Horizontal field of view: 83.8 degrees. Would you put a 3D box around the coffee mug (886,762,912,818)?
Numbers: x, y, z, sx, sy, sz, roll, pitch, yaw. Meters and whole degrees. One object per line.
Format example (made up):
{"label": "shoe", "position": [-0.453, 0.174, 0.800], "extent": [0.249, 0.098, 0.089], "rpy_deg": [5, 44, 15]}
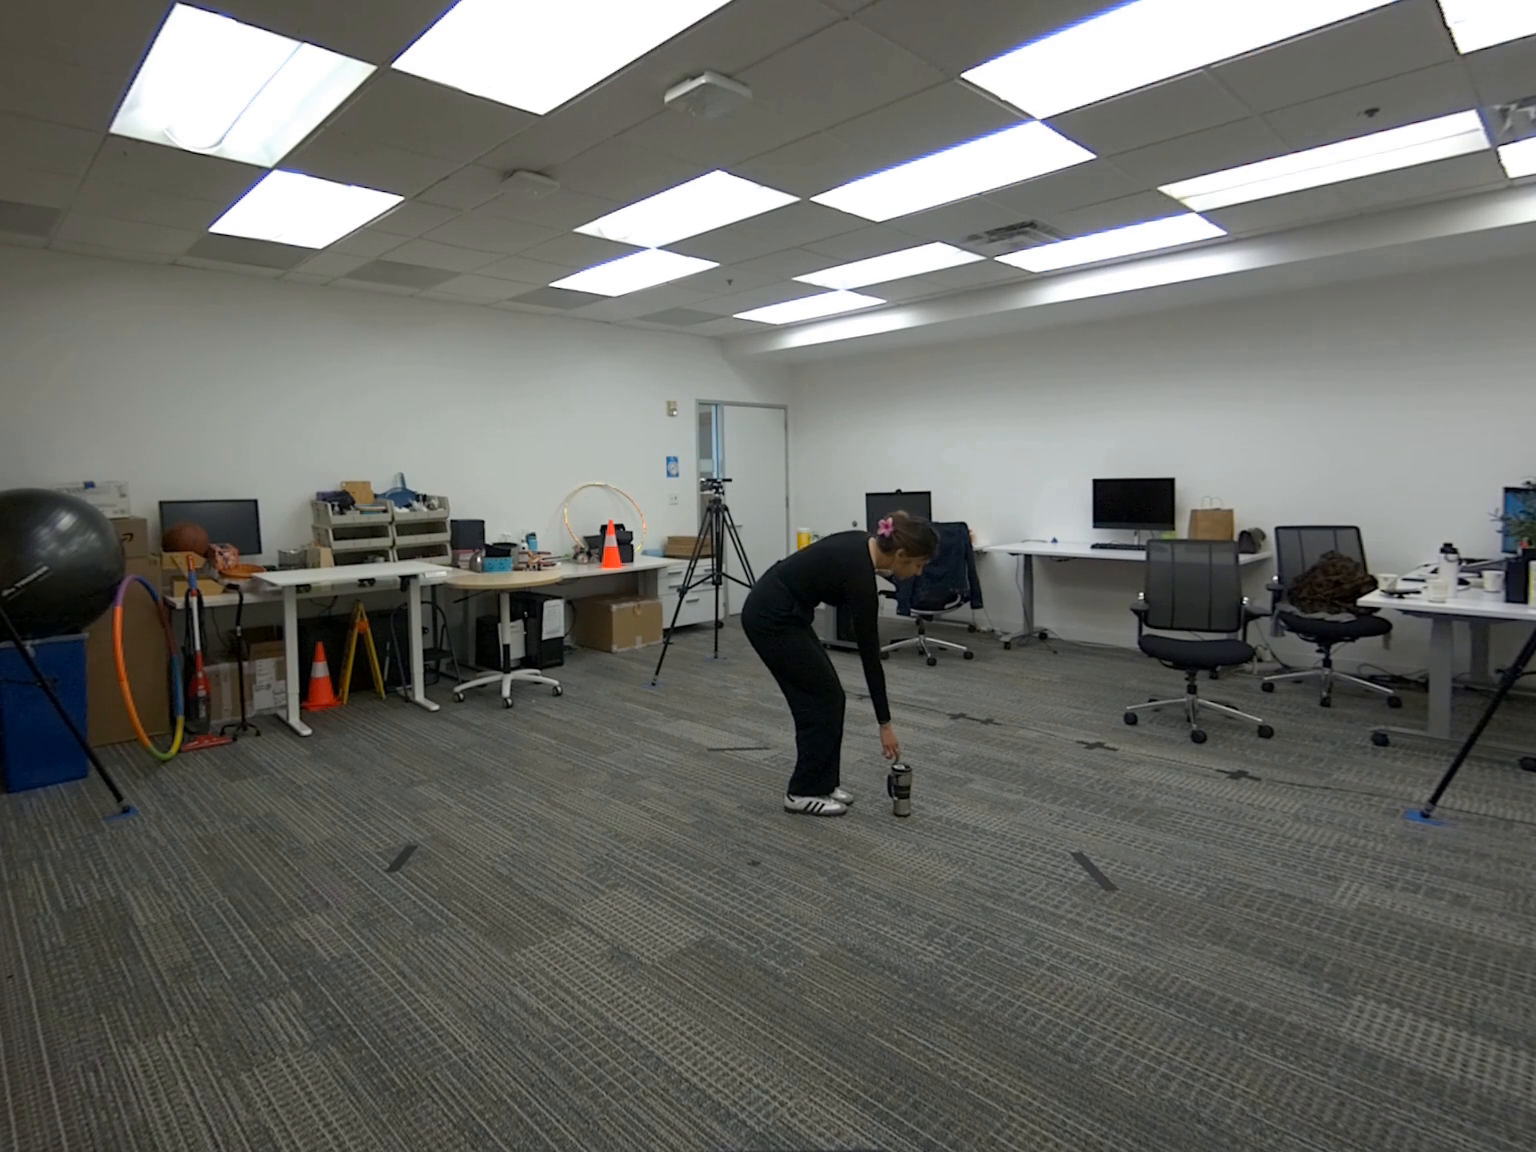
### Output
{"label": "coffee mug", "position": [0.529, 0.888, 3.526], "extent": [0.120, 0.202, 0.089], "rpy_deg": [5, 7, -12]}
